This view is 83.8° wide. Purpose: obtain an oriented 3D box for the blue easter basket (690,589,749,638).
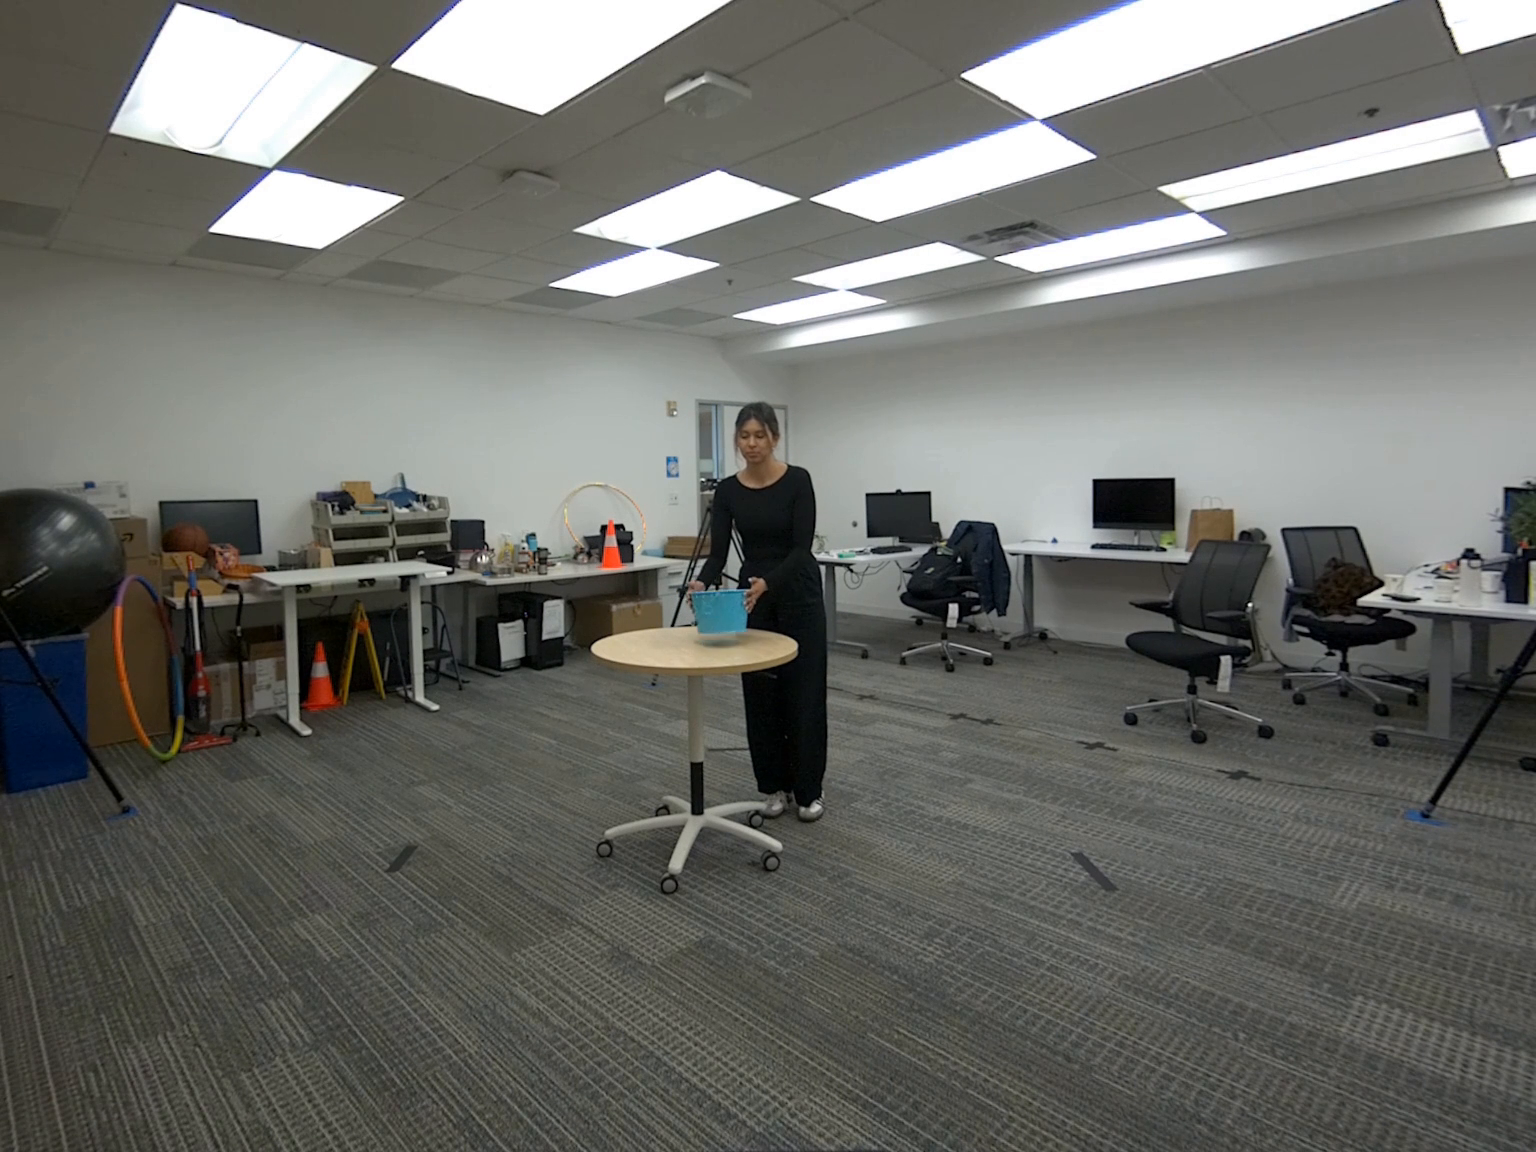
[{"bbox_3d":[-0.180,0.132,3.200,0.243,0.156,0.243,-3,-1,-2],"label":"blue easter basket"}]
